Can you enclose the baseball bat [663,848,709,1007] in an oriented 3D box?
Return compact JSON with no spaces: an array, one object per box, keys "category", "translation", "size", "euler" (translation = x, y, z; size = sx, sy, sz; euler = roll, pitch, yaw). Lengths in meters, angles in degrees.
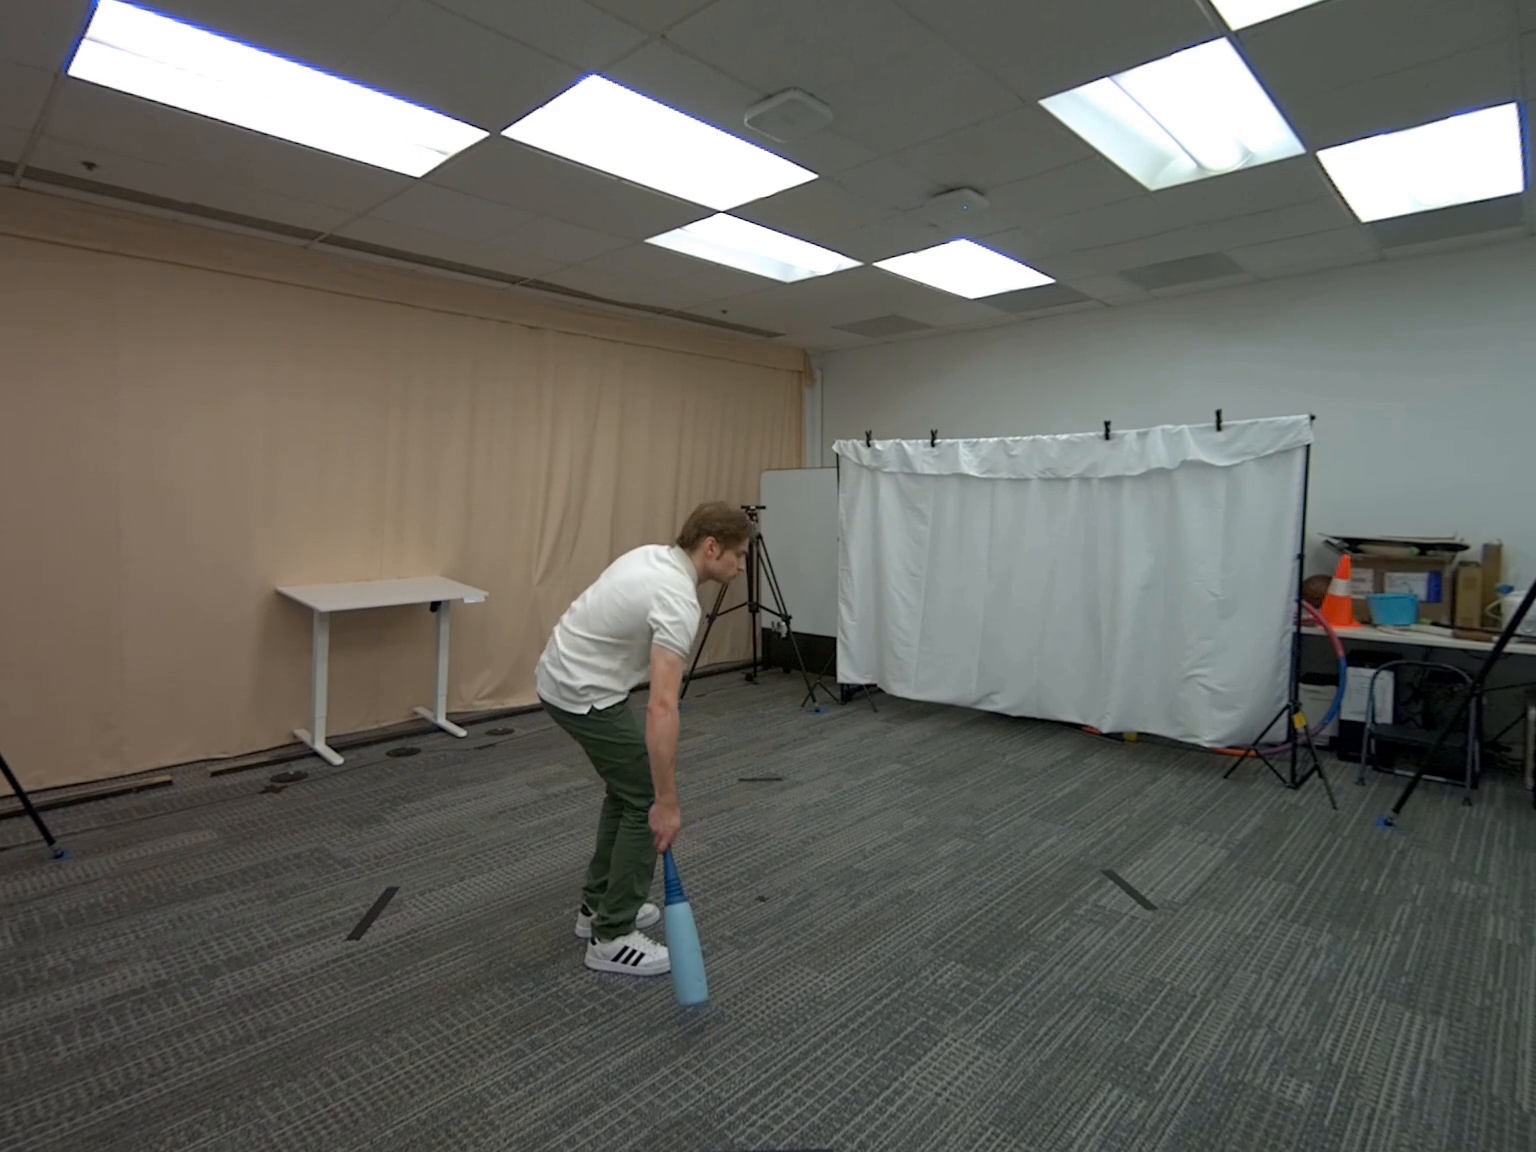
[{"category":"baseball bat","translation":[-0.261,0.885,2.321],"size":[0.088,0.553,0.088],"euler":[-10,-24,-6]}]
